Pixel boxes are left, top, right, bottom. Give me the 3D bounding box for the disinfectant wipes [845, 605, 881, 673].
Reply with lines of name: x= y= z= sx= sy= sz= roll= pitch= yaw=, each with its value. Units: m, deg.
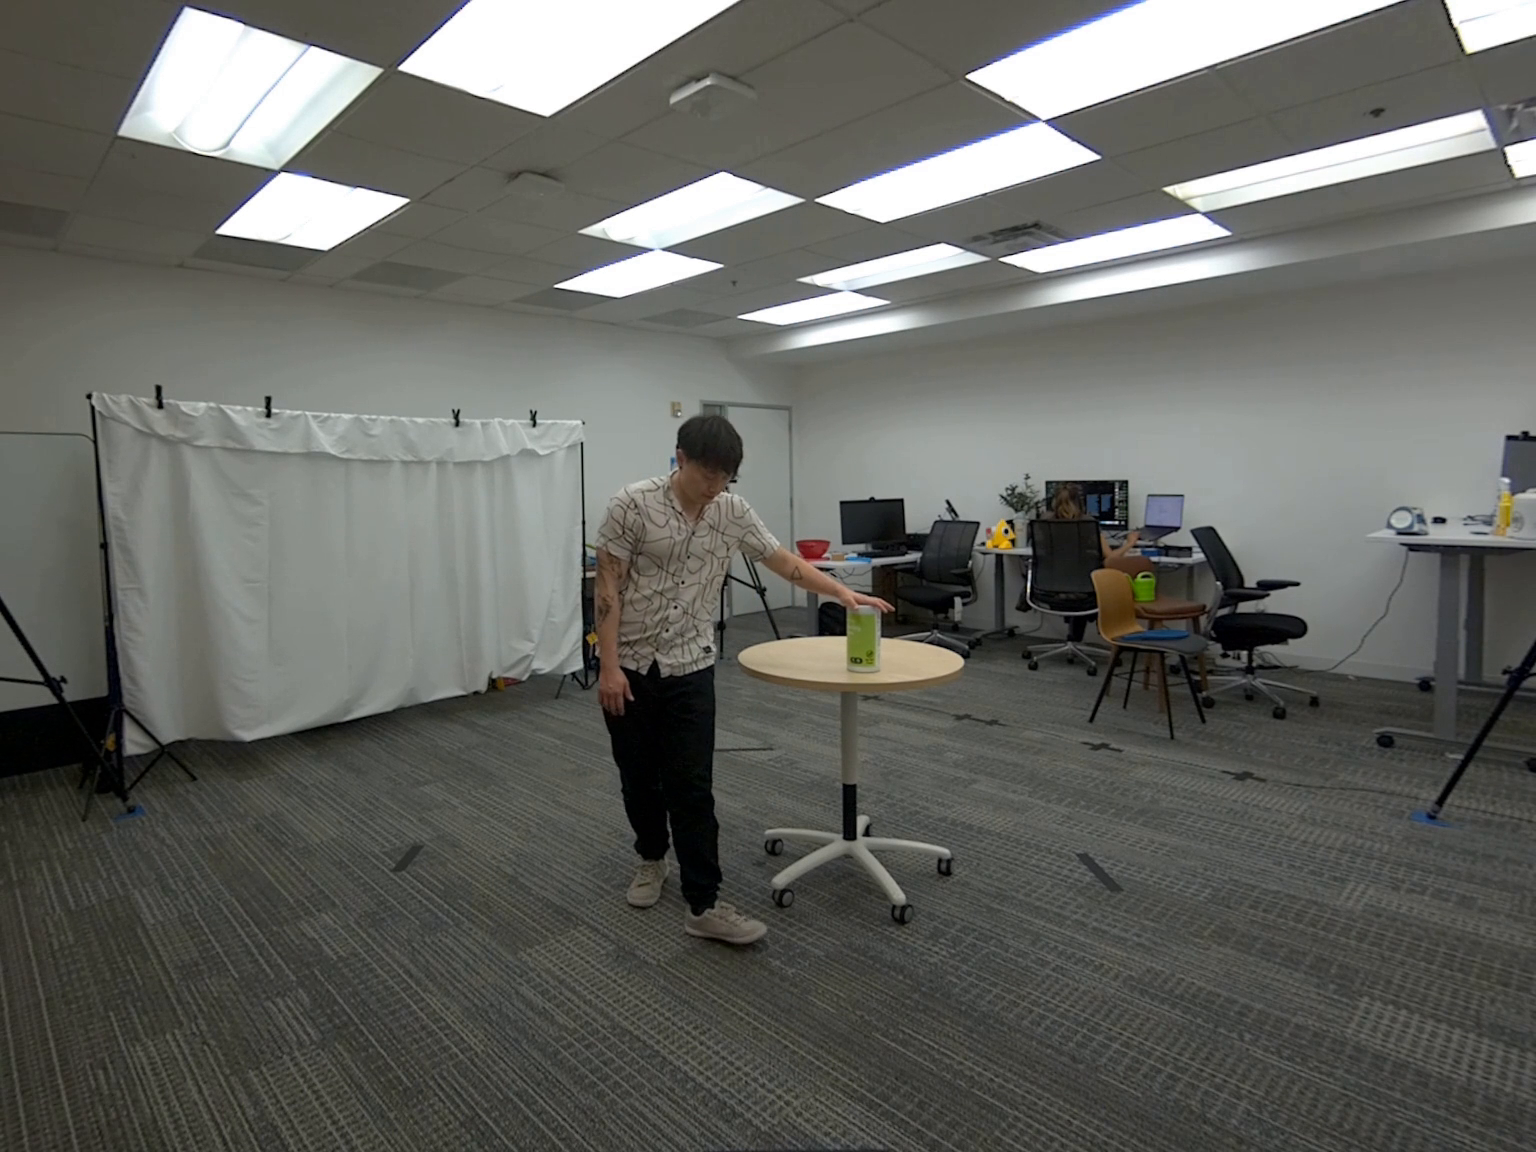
disinfectant wipes: x=0.308 y=0.193 z=2.740 sx=0.118 sy=0.216 sz=0.118 roll=-1 pitch=4 yaw=-2
